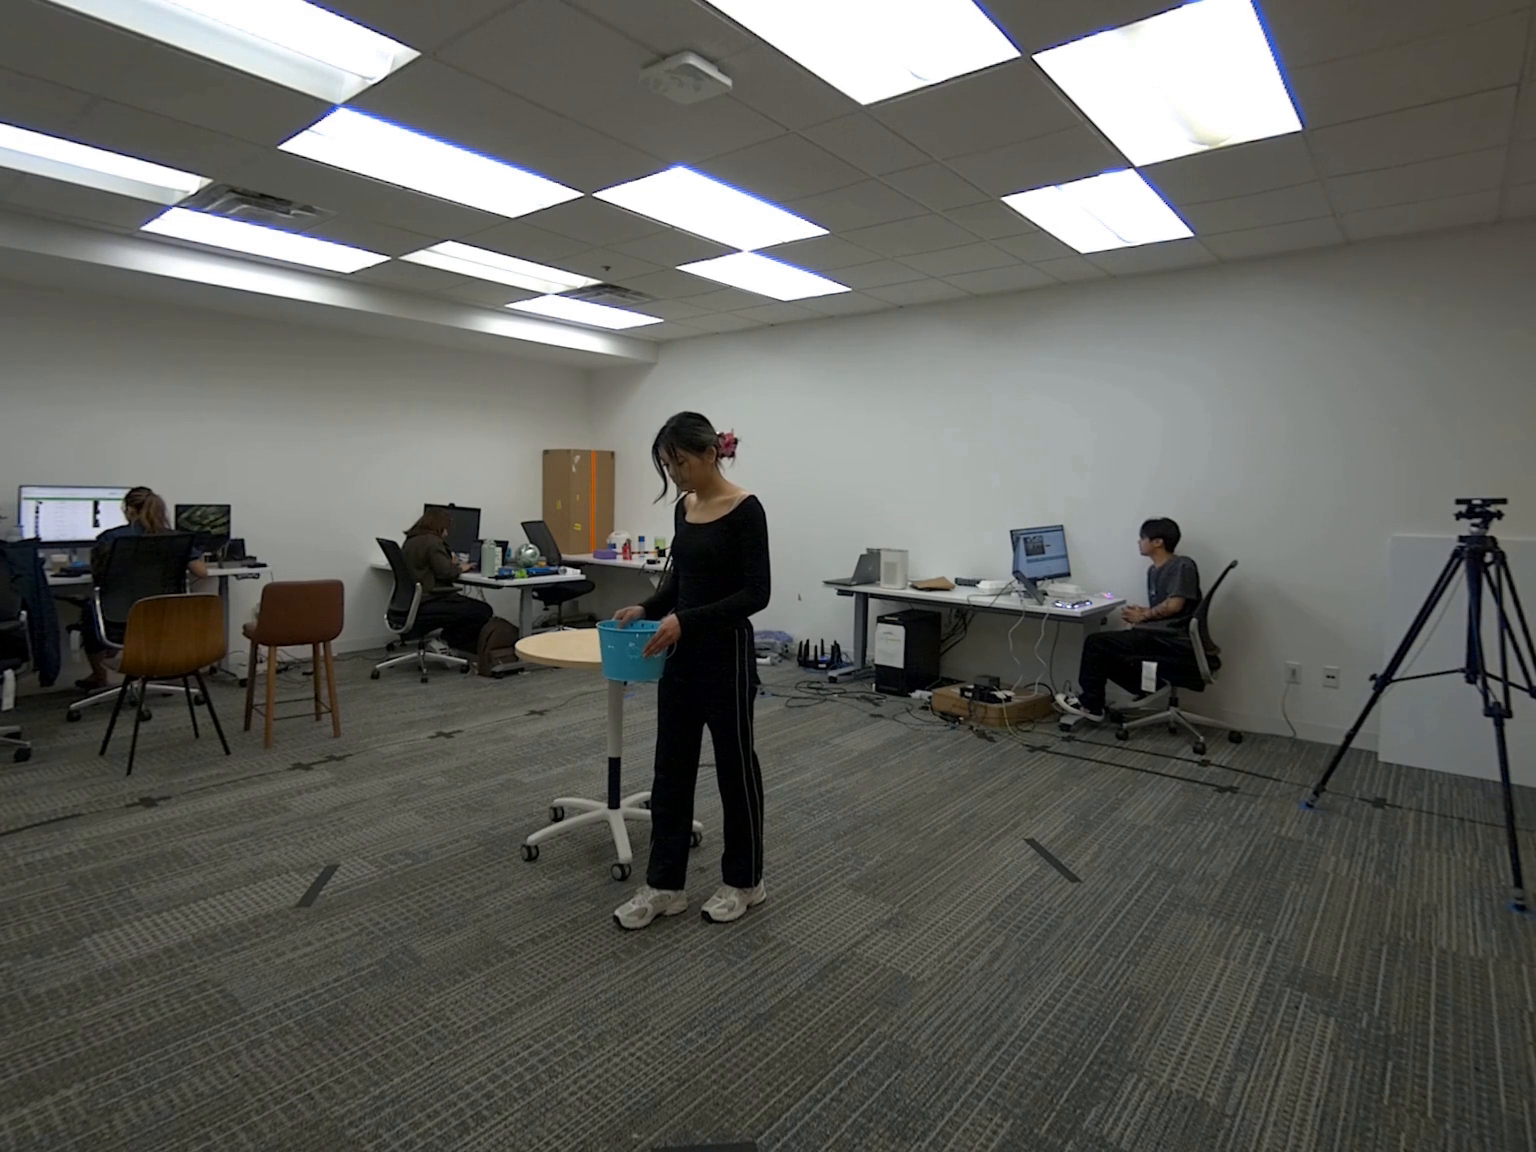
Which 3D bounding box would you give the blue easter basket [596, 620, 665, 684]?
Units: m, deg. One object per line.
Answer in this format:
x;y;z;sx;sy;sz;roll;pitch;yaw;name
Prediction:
-0.404;0.224;2.577;0.243;0.155;0.245;2;5;-2;blue easter basket
